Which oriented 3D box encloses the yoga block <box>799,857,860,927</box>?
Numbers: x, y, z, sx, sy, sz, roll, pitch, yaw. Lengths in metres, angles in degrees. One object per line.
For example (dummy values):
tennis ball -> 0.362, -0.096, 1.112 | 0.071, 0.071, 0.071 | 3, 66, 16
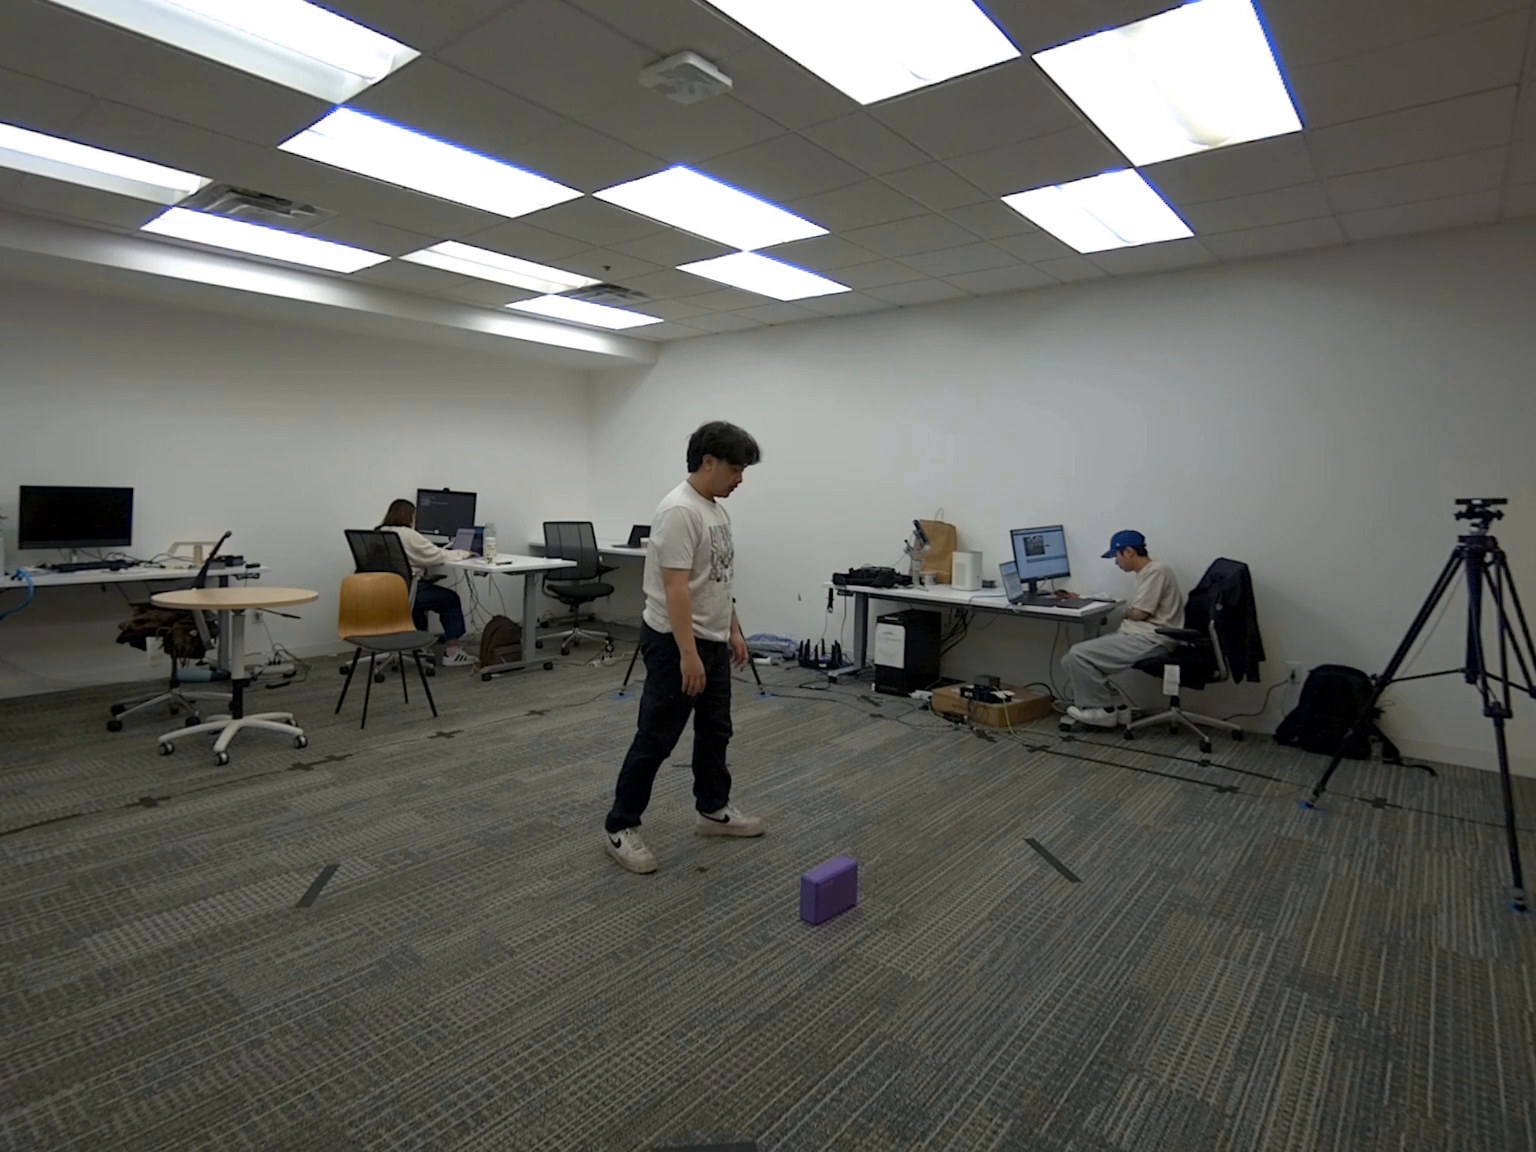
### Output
yoga block -> 0.198, 1.033, 2.813 | 0.079, 0.148, 0.222 | 4, 6, 42
